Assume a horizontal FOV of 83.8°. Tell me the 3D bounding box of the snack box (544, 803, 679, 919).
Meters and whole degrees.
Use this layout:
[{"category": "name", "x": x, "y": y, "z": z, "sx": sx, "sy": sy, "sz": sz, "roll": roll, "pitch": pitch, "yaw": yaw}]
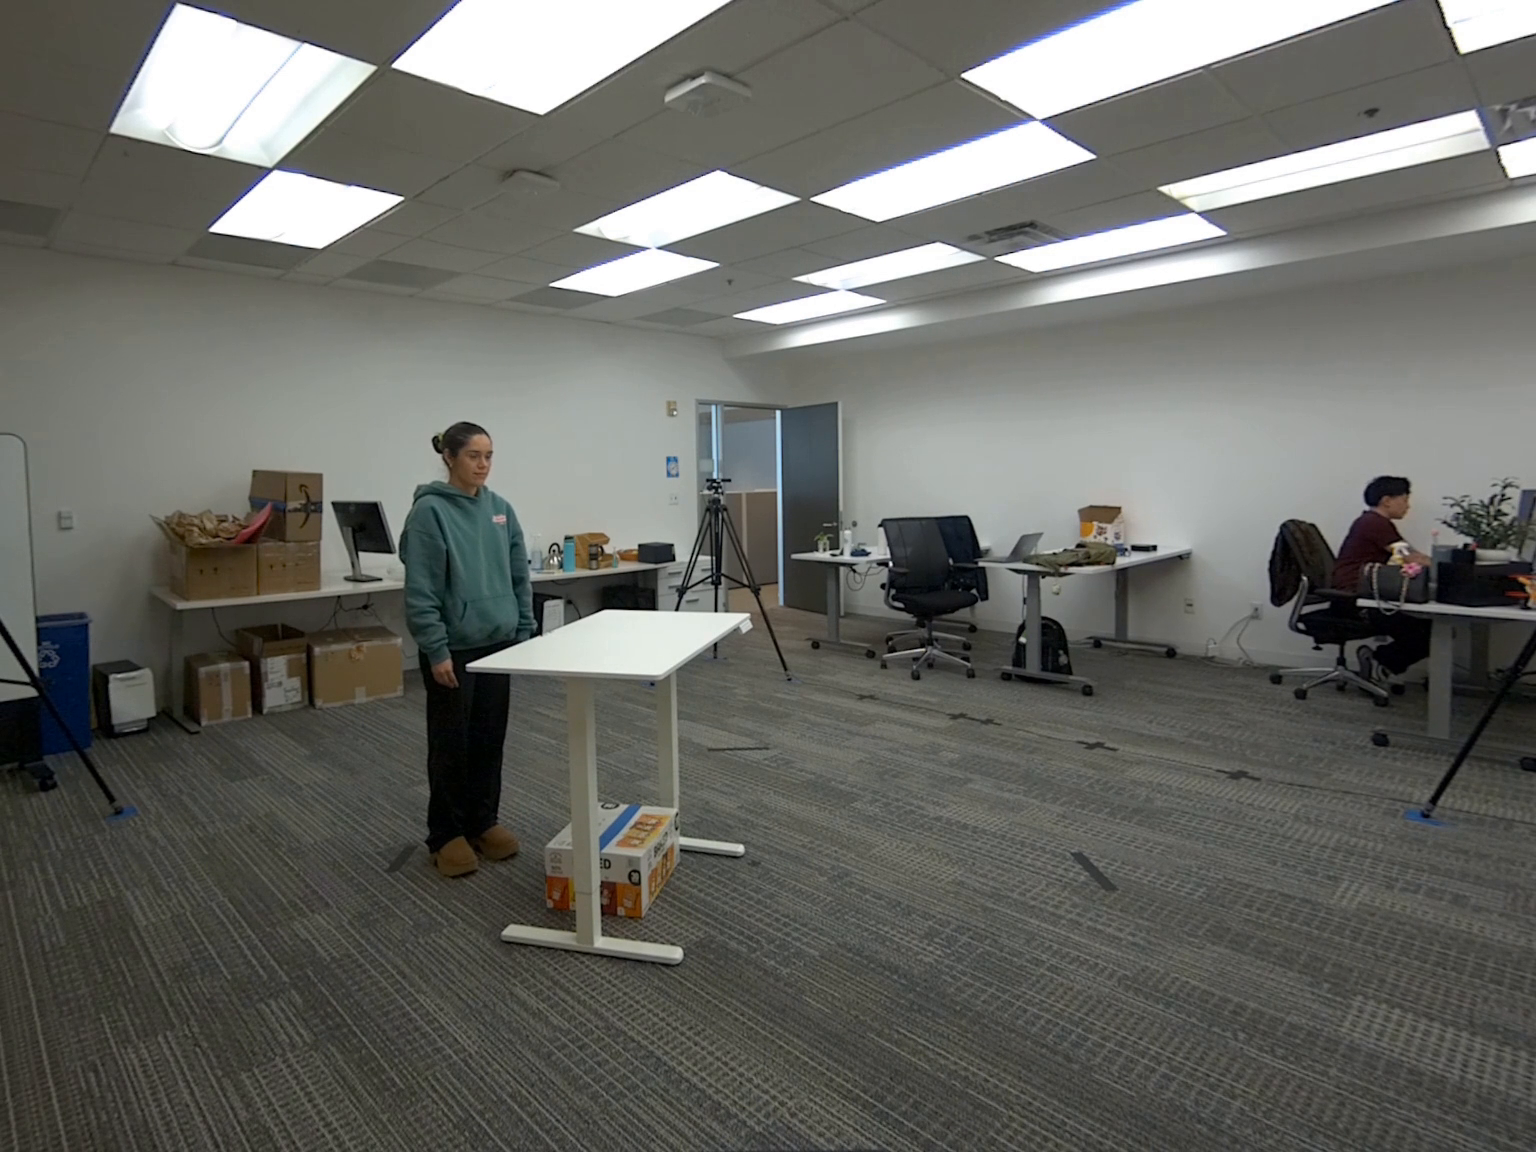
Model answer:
[{"category": "snack box", "x": -0.526, "y": 0.969, "z": 2.954, "sx": 0.345, "sy": 0.205, "sz": 0.402, "roll": 0, "pitch": 6, "yaw": 12}]
